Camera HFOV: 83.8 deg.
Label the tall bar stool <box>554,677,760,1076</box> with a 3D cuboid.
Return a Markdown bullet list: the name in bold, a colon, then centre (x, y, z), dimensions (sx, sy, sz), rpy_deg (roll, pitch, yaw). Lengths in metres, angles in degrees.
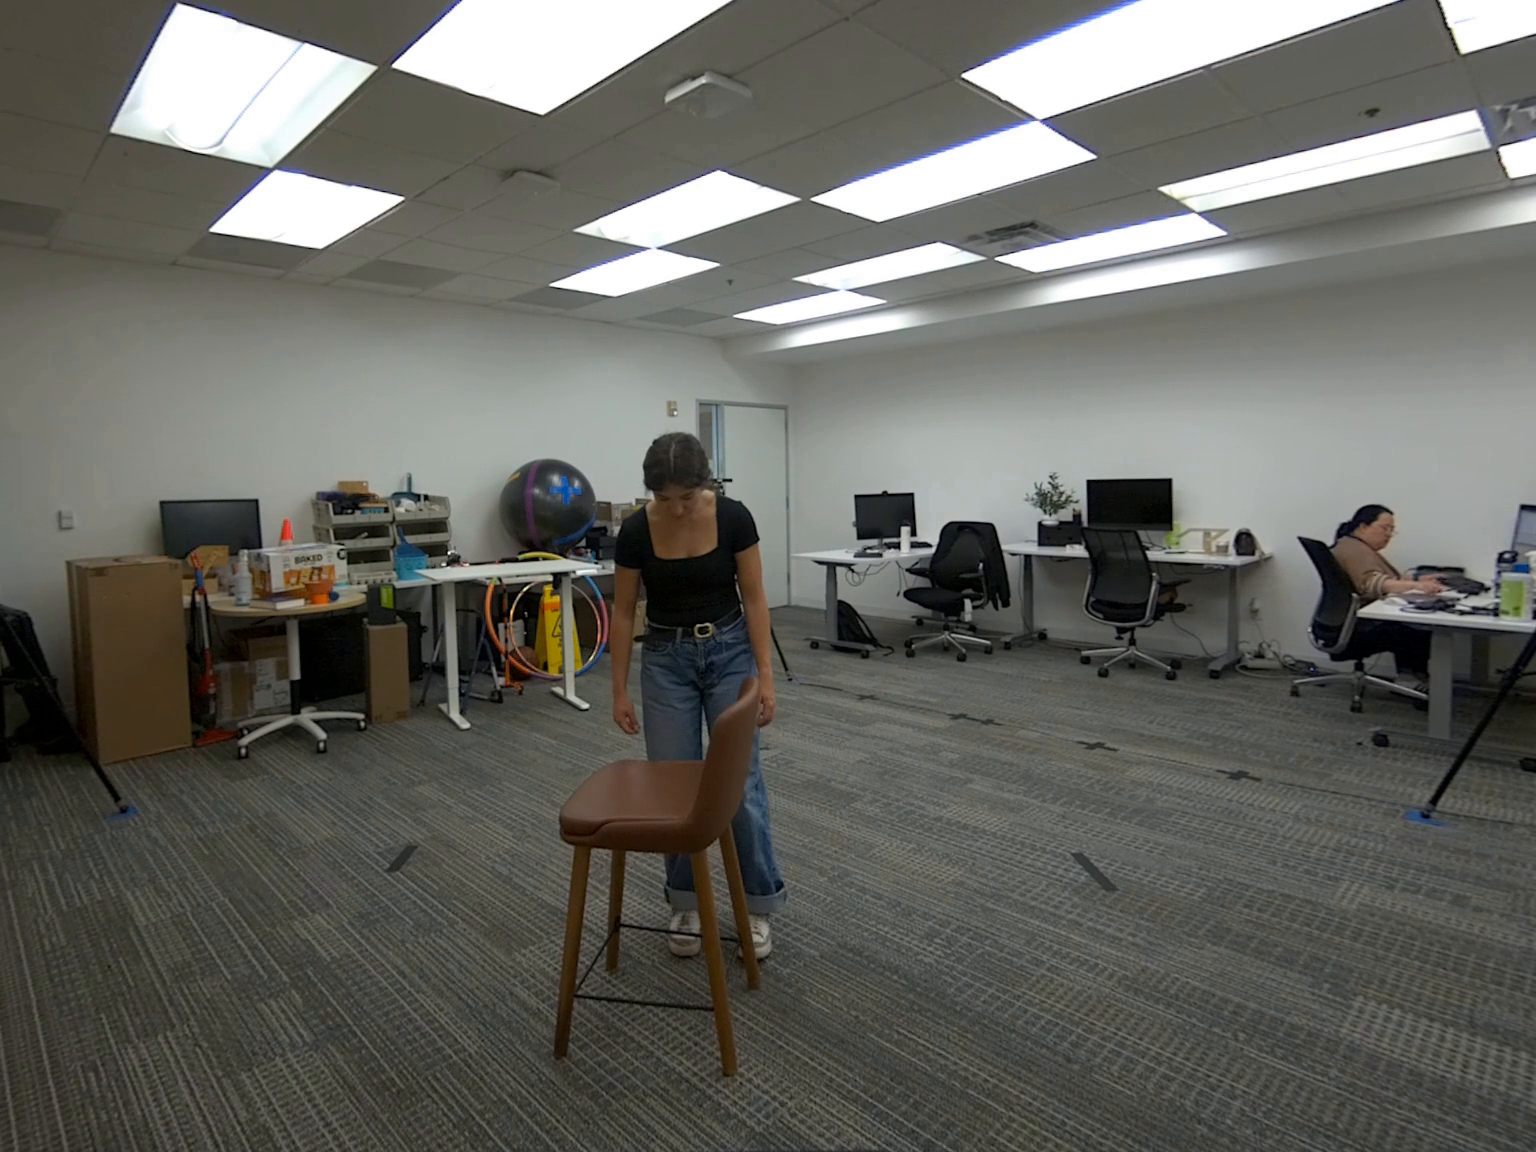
- **tall bar stool**: centre (-0.277, 0.724, 2.198), dimensions (0.473, 0.886, 0.453), rpy_deg (1, 5, 10)
